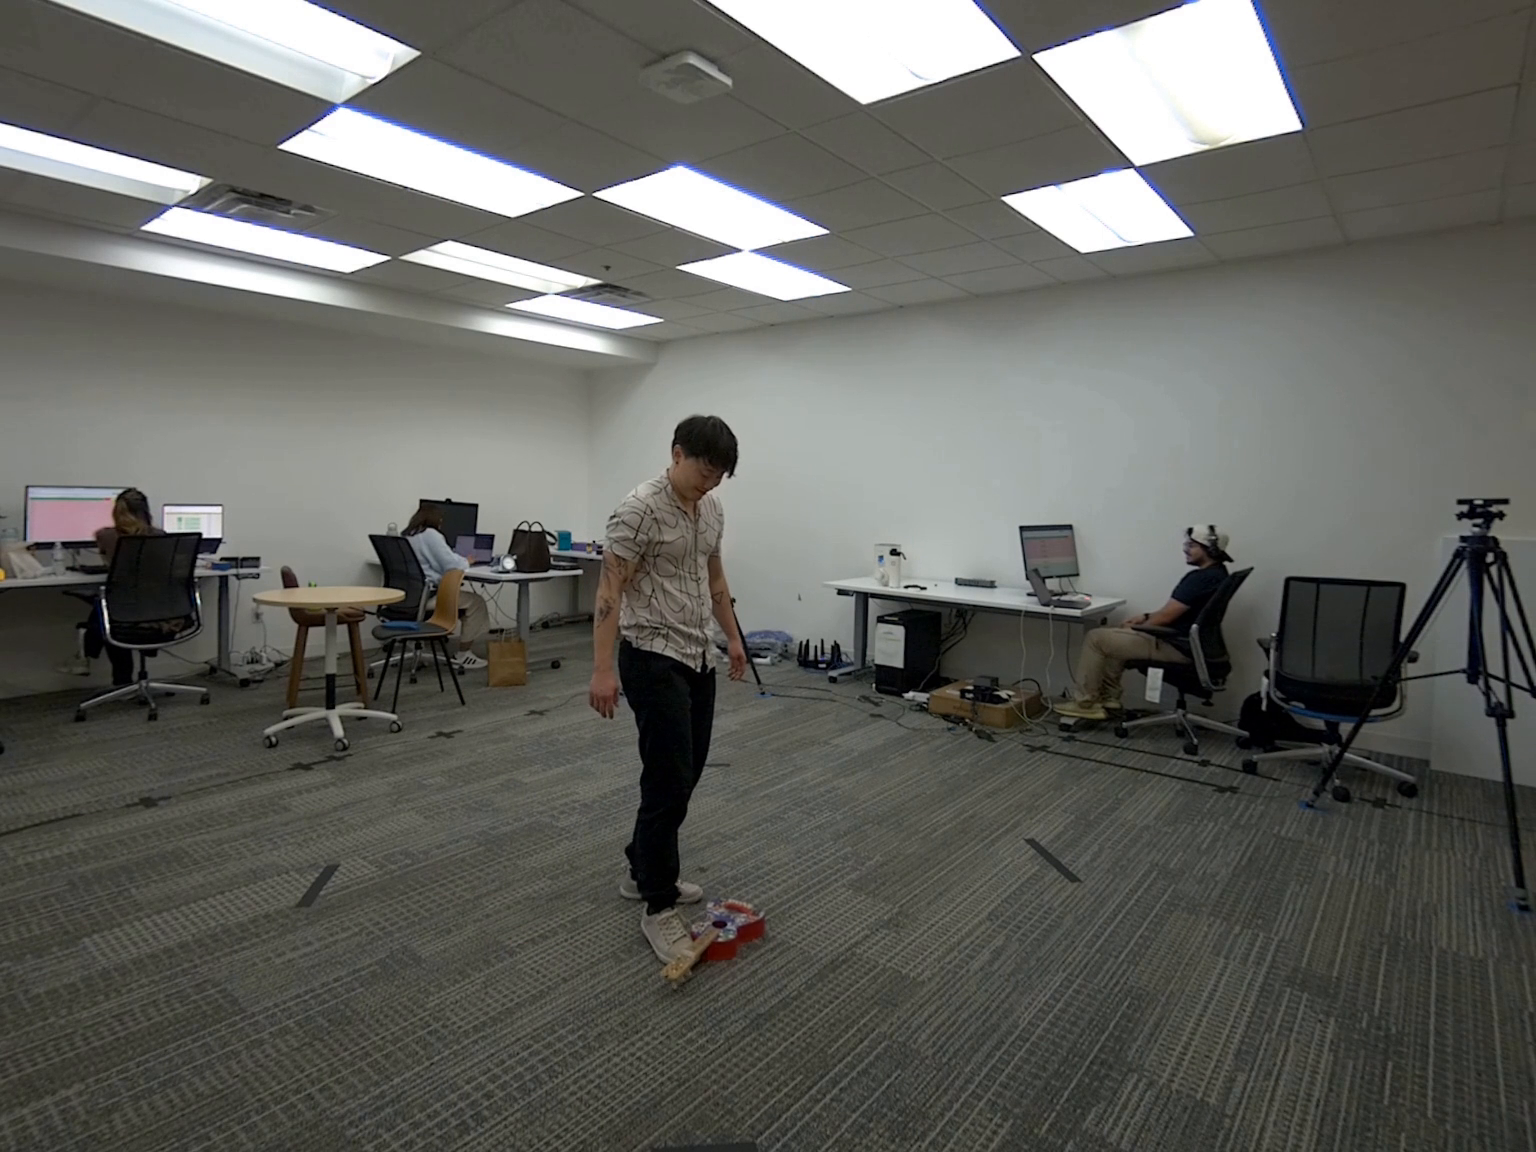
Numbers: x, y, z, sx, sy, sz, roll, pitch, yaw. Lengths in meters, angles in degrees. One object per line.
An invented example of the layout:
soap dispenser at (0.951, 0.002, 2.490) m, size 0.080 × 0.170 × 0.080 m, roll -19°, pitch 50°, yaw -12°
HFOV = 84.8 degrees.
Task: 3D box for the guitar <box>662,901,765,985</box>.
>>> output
guitar at (-0.212, 1.090, 2.544) m, size 0.199 × 0.070 × 0.484 m, roll 5°, pitch 6°, yaw 34°
